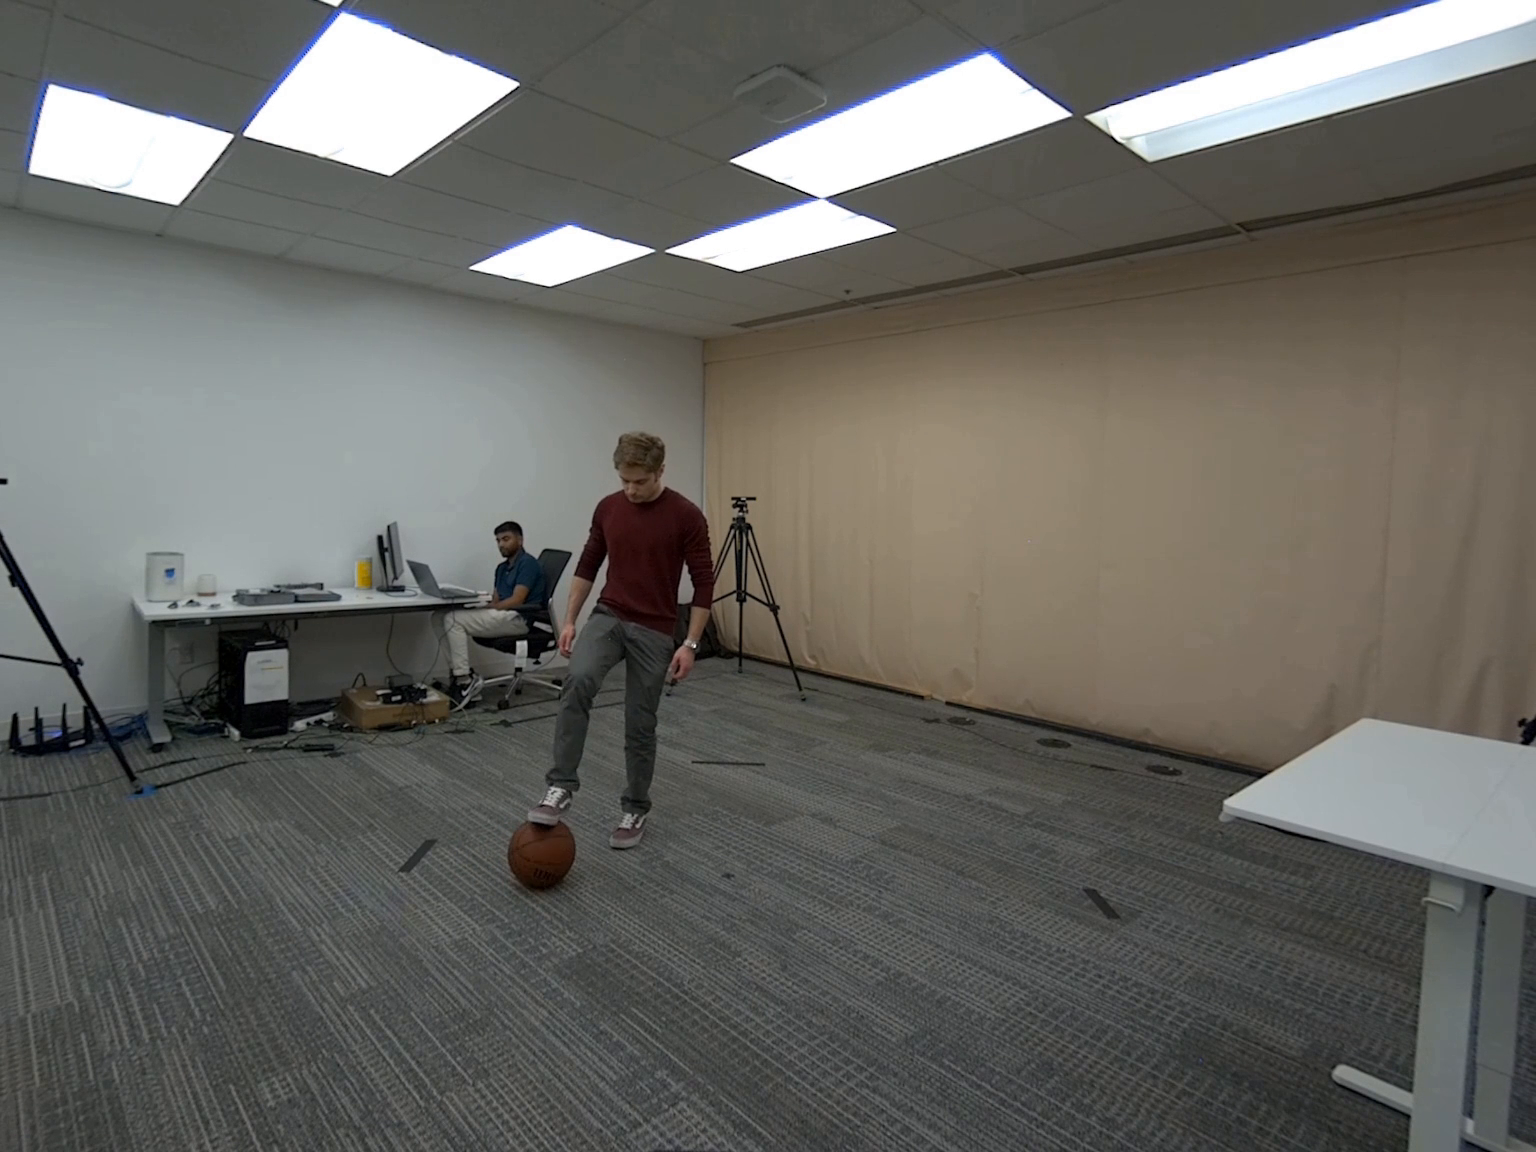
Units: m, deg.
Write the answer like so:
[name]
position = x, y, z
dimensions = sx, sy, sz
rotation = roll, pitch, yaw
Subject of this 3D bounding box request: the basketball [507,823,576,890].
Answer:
[basketball]
position = -0.812, 0.984, 2.997
dimensions = 0.236, 0.235, 0.237
rotation = 1, 4, -1
